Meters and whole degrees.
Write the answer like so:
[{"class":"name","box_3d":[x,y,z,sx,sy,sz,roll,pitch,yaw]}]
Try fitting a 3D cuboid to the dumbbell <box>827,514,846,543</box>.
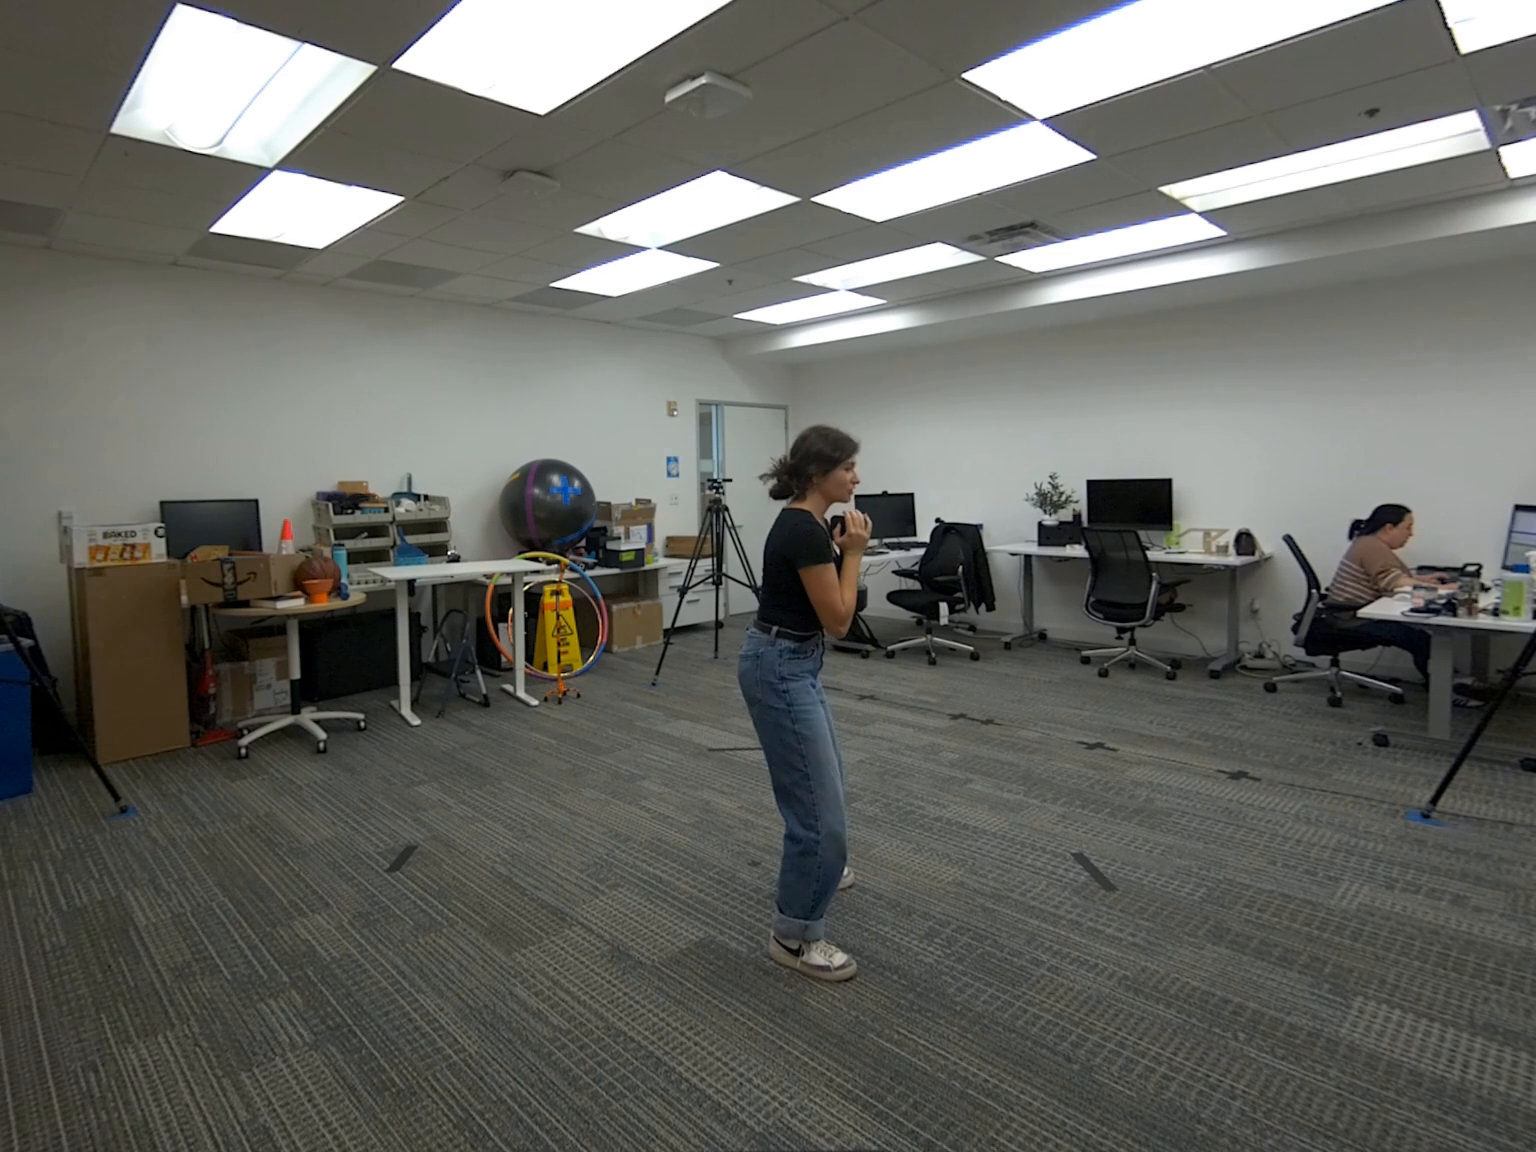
[{"class":"dumbbell","box_3d":[0.229,-0.027,2.586,0.126,0.292,0.106,8,6,29]}]
